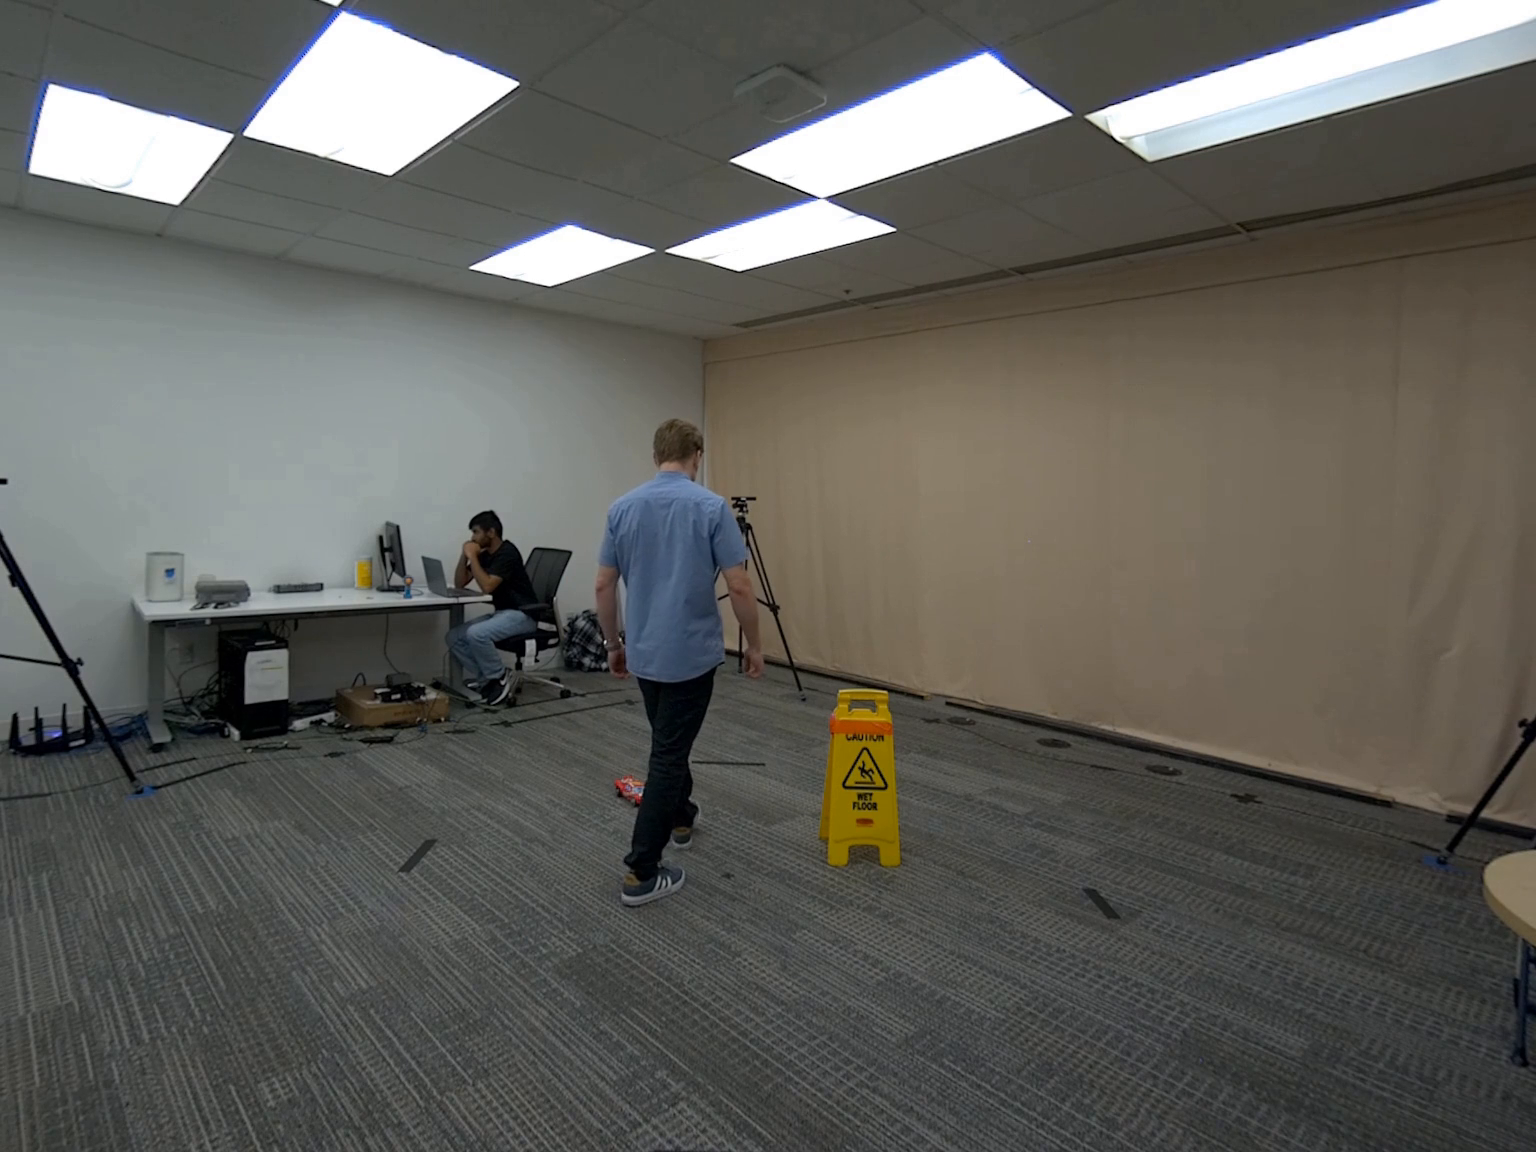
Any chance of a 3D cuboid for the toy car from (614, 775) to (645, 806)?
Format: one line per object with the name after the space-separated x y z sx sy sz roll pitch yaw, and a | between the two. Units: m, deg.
-0.631 0.996 3.892 0.127 0.082 0.262 -2 16 -35 | toy car
